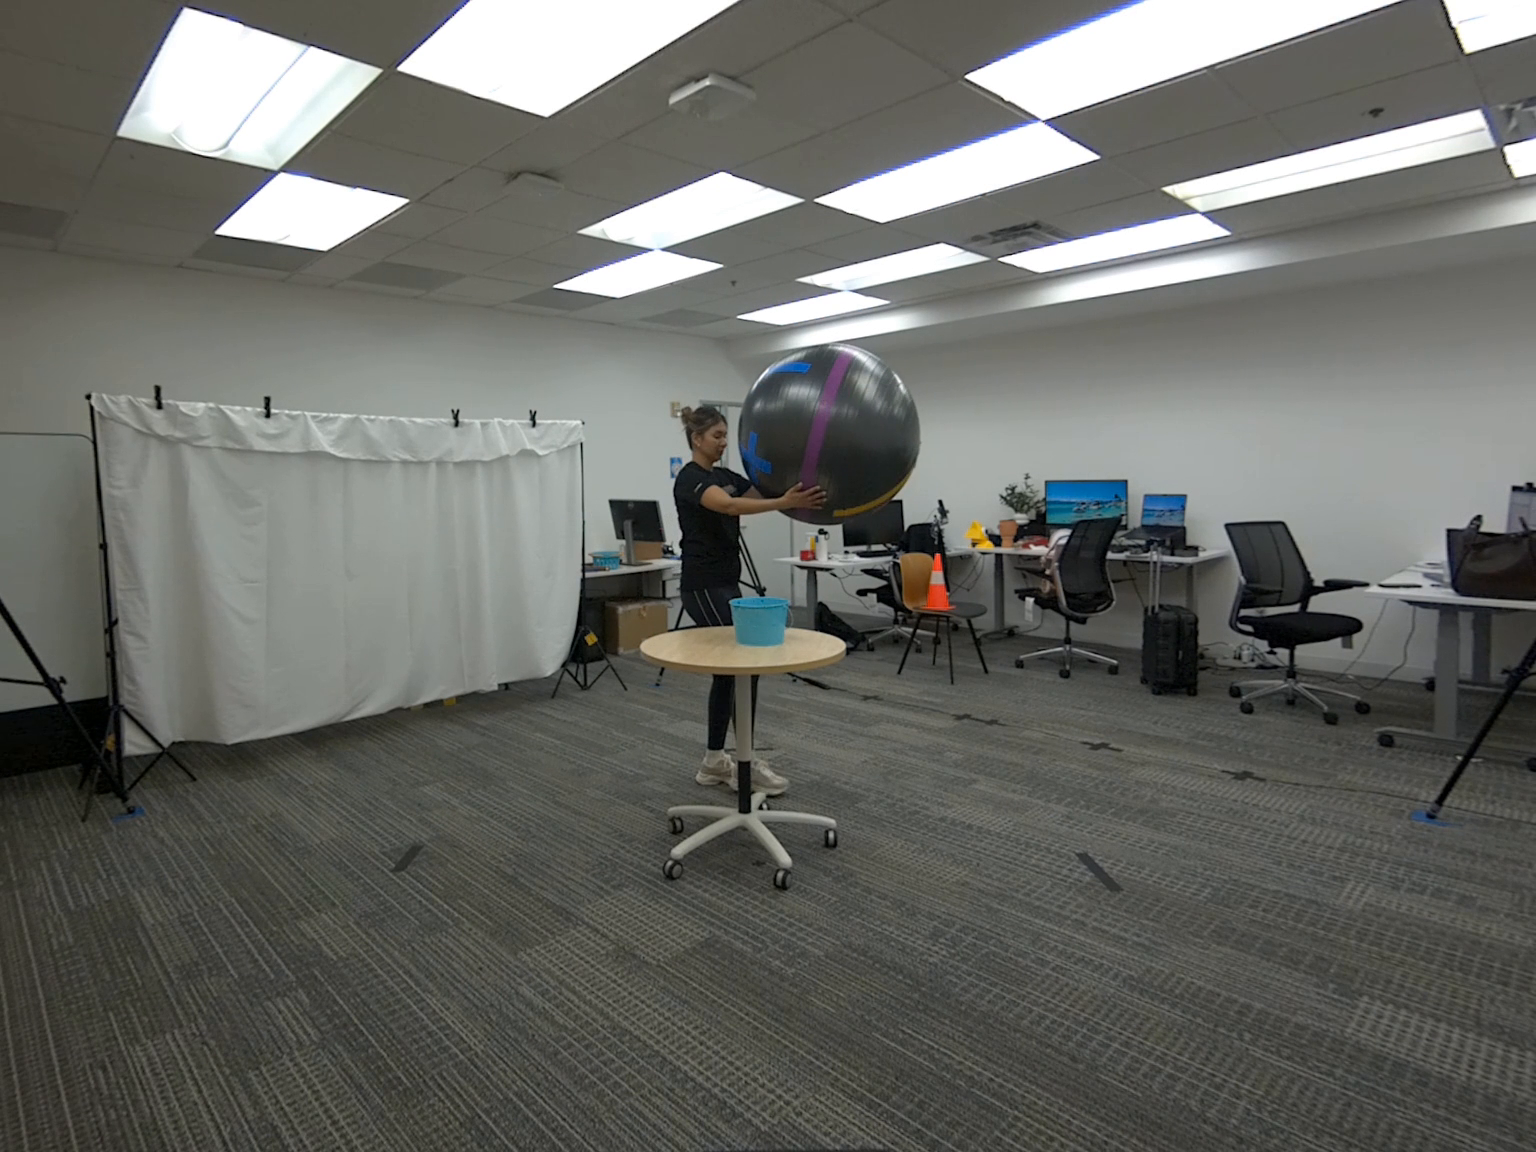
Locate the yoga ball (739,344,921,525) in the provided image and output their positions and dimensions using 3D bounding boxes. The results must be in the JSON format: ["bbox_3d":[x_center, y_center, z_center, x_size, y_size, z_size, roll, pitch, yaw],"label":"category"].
[{"bbox_3d":[0.255,-0.588,3.595,0.757,0.755,0.762,-1,5,-2],"label":"yoga ball"}]
